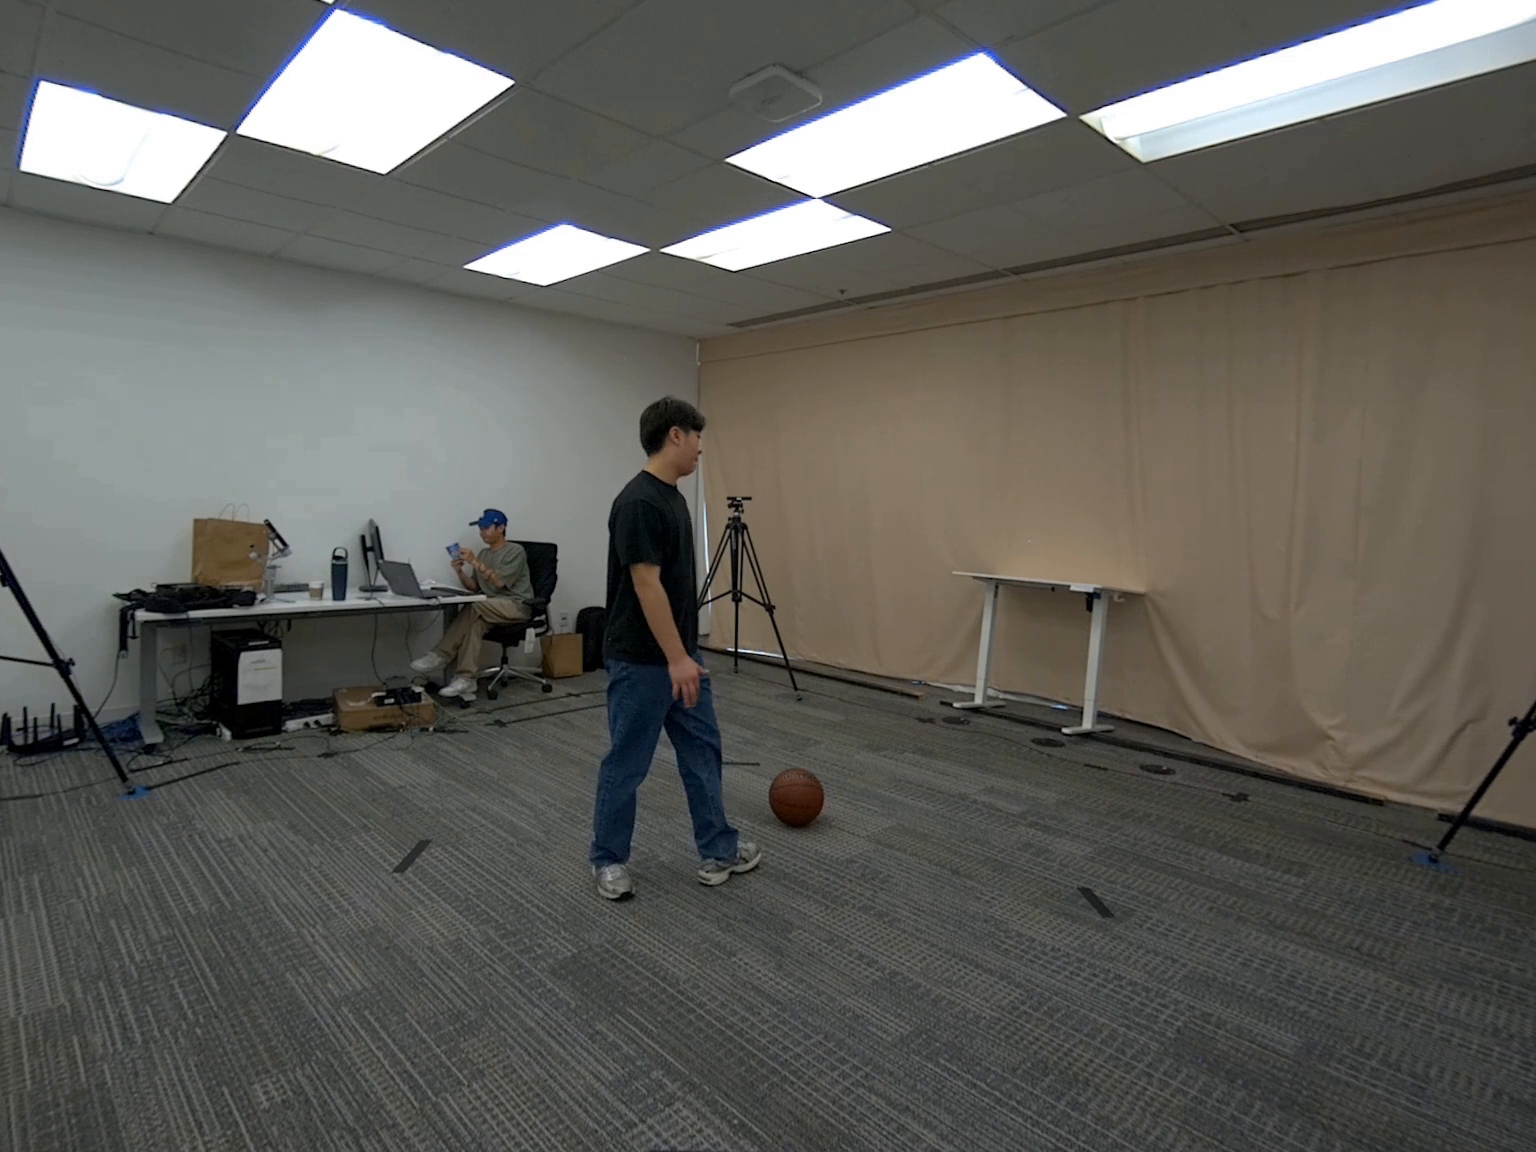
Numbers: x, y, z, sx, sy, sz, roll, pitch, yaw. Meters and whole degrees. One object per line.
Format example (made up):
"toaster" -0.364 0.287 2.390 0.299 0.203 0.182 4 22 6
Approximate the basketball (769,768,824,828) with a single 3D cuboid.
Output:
"basketball" 0.118 0.945 3.621 0.236 0.235 0.237 1 4 -1
